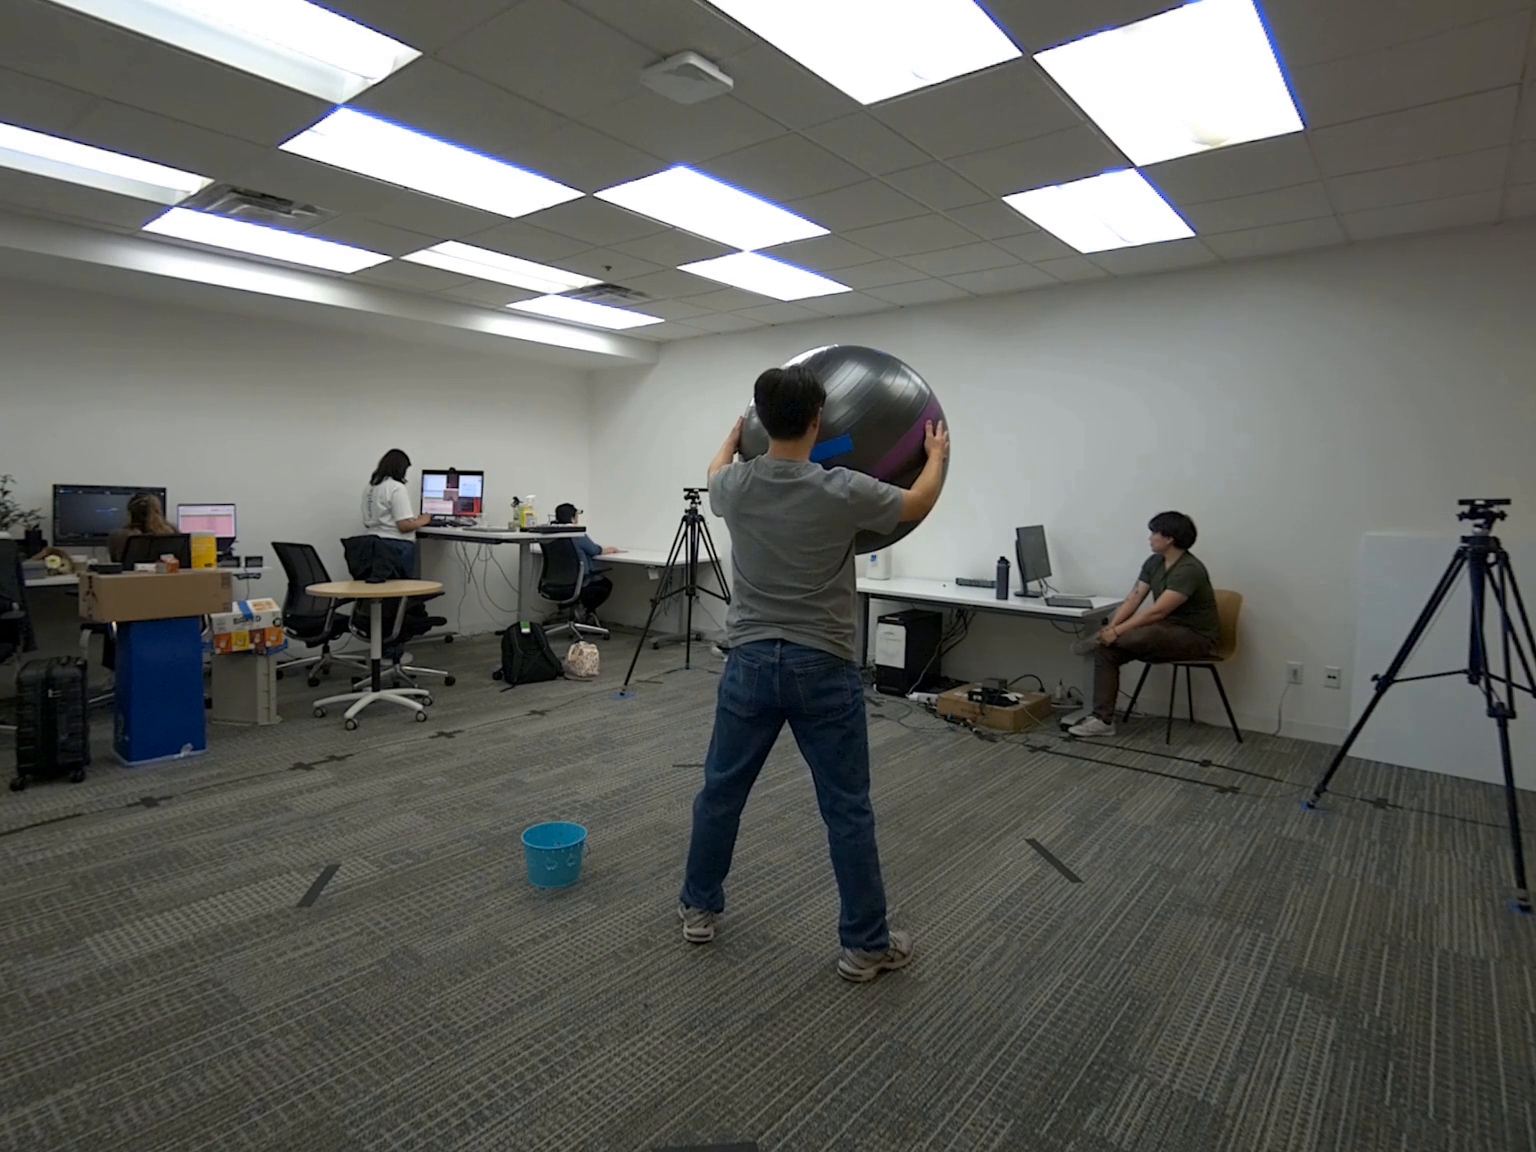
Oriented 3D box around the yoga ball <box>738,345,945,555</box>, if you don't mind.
[{"bbox_3d":[0.264,-0.436,3.089,0.757,0.755,0.762,1,4,-2],"label":"yoga ball"}]
